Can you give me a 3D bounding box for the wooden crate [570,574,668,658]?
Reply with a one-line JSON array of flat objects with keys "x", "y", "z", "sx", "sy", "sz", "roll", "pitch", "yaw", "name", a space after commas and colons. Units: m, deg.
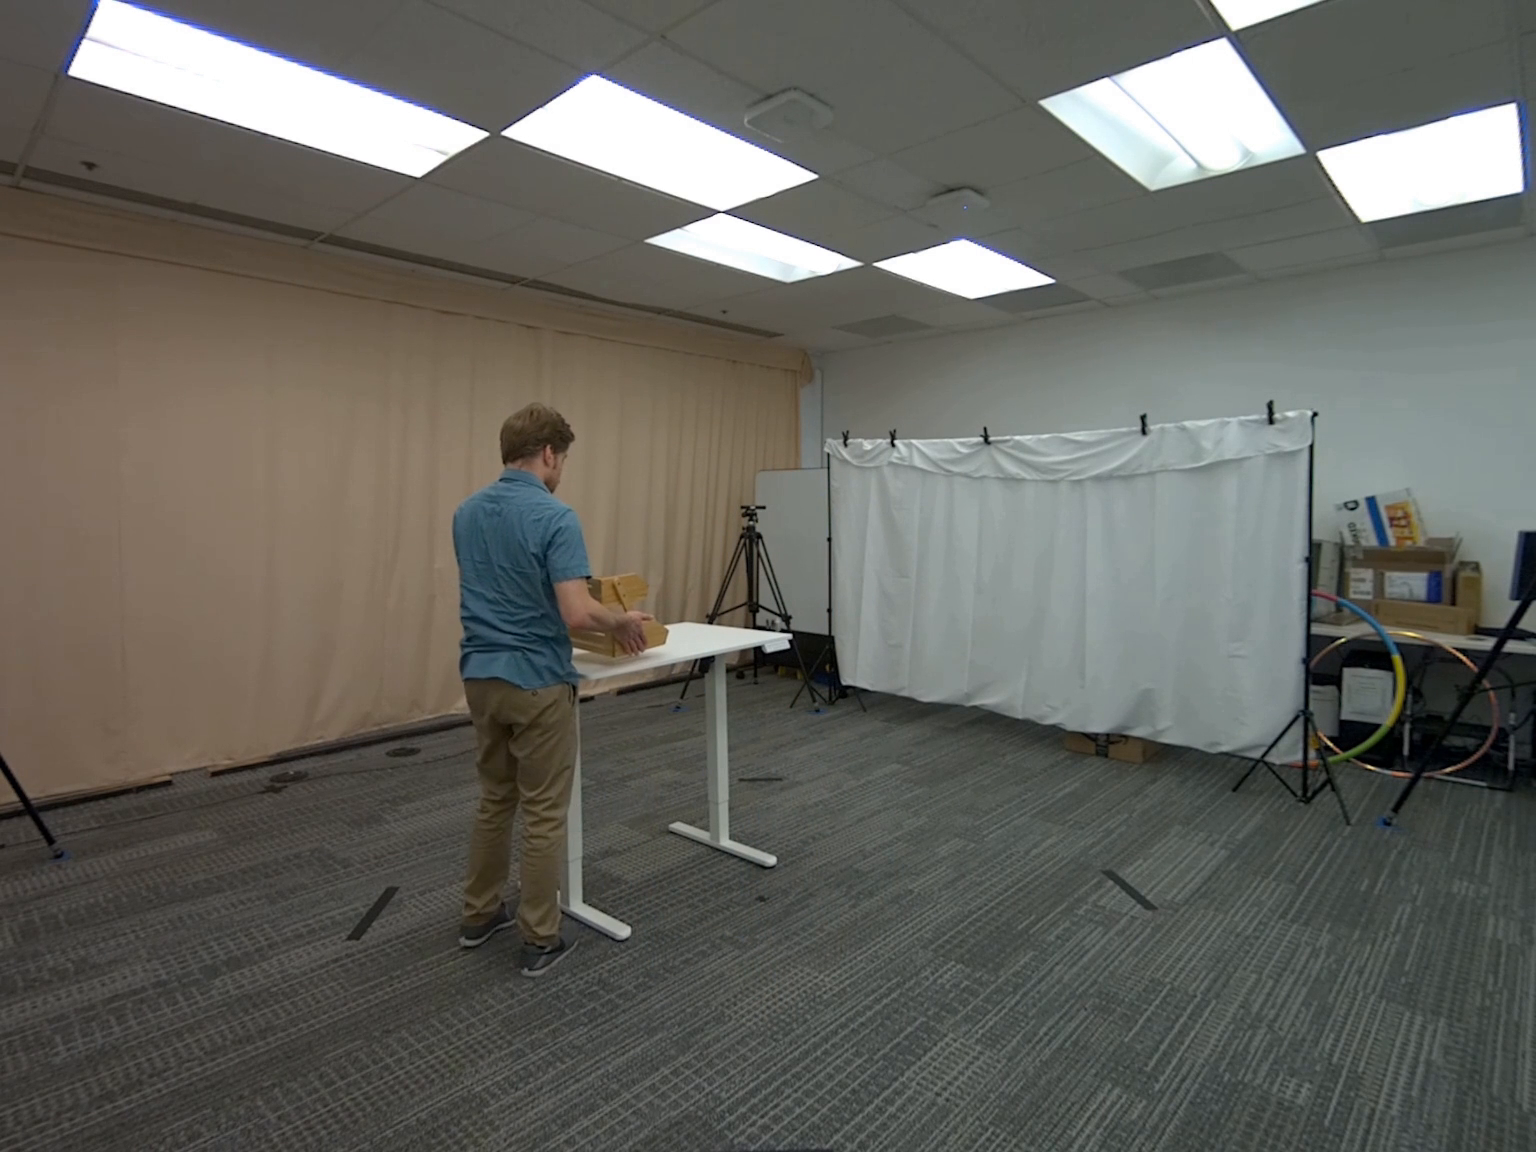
[{"x": -0.552, "y": 0.102, "z": 2.822, "sx": 0.335, "sy": 0.272, "sz": 0.294, "roll": 6, "pitch": 11, "yaw": 38, "name": "wooden crate"}]
